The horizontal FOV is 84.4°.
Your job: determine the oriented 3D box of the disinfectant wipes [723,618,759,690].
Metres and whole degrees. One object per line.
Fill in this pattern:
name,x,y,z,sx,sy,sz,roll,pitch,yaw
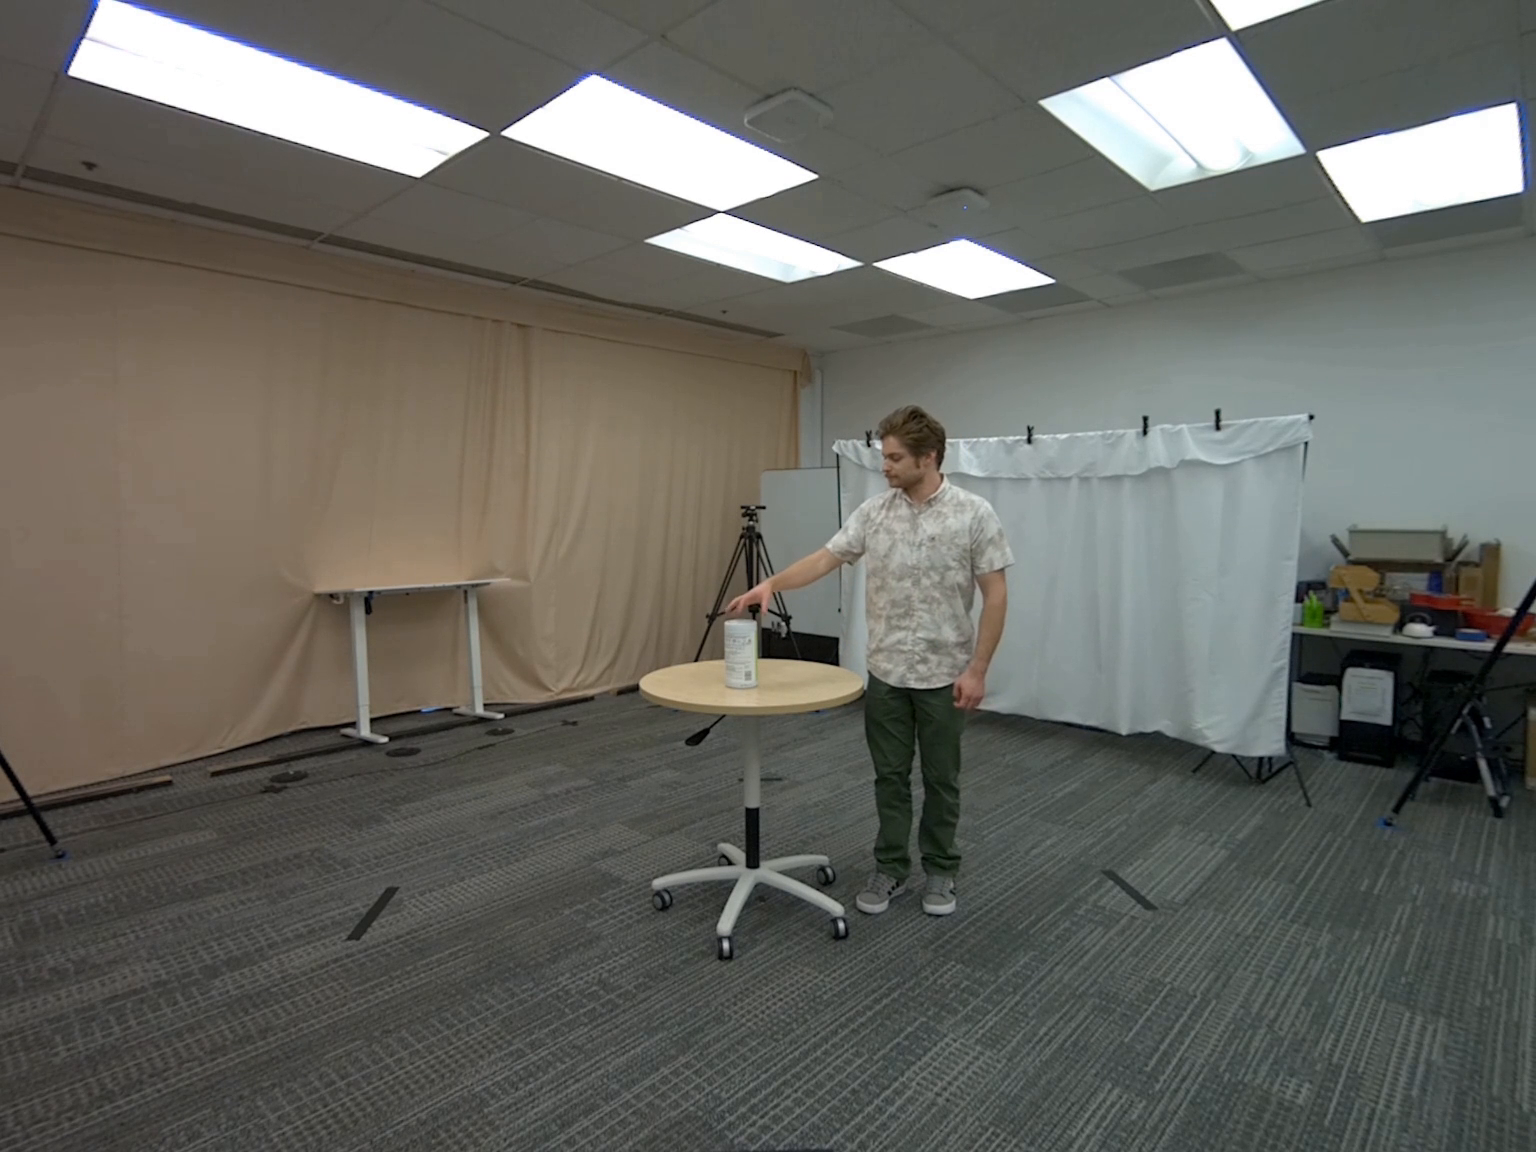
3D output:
disinfectant wipes,-0.081,0.261,2.792,0.118,0.217,0.118,0,3,-2
